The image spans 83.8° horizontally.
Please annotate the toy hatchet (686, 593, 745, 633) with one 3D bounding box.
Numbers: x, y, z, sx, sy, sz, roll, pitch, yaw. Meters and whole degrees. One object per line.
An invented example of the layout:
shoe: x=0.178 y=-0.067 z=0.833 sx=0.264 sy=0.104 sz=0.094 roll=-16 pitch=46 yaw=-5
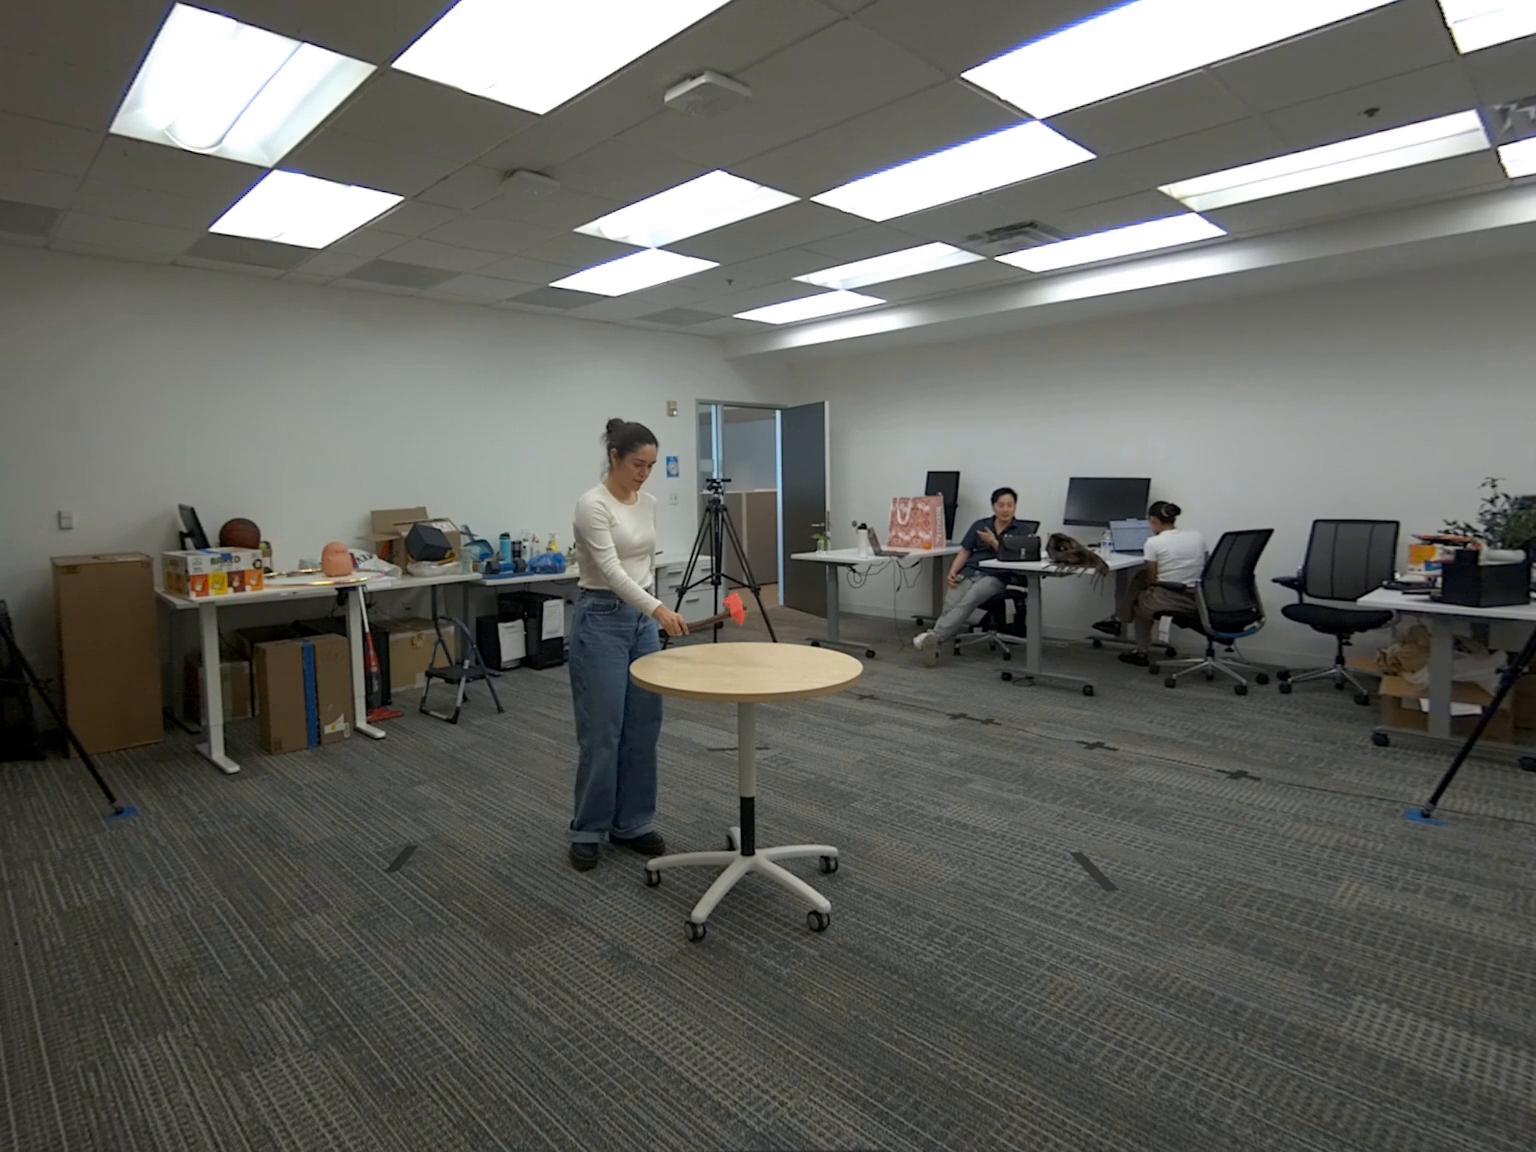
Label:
toy hatchet: x=-0.196 y=0.107 z=2.859 sx=0.276 sy=0.133 sz=0.028 roll=-5 pitch=-37 yaw=28
